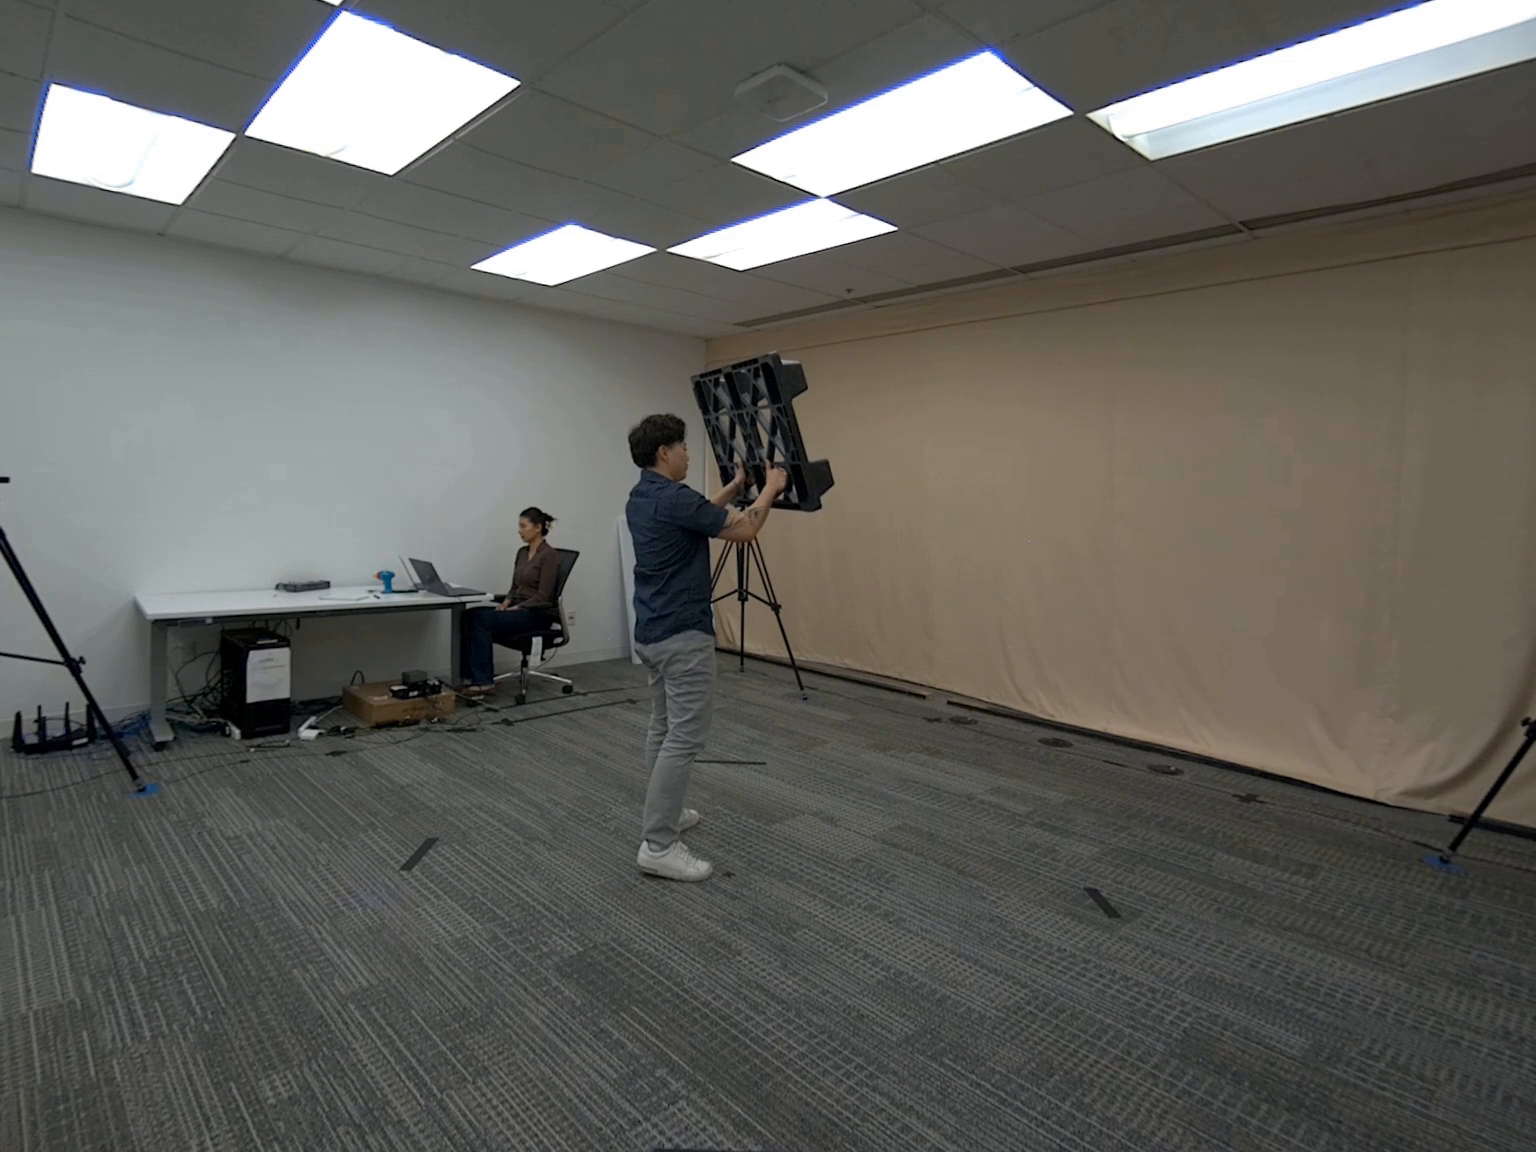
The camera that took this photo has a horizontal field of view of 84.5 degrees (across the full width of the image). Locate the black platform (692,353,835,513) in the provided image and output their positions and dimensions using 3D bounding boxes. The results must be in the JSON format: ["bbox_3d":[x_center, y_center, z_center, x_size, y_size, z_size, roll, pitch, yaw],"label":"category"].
[{"bbox_3d":[-0.037,-0.579,3.416,0.142,0.598,0.823,-21,14,-22],"label":"black platform"}]
